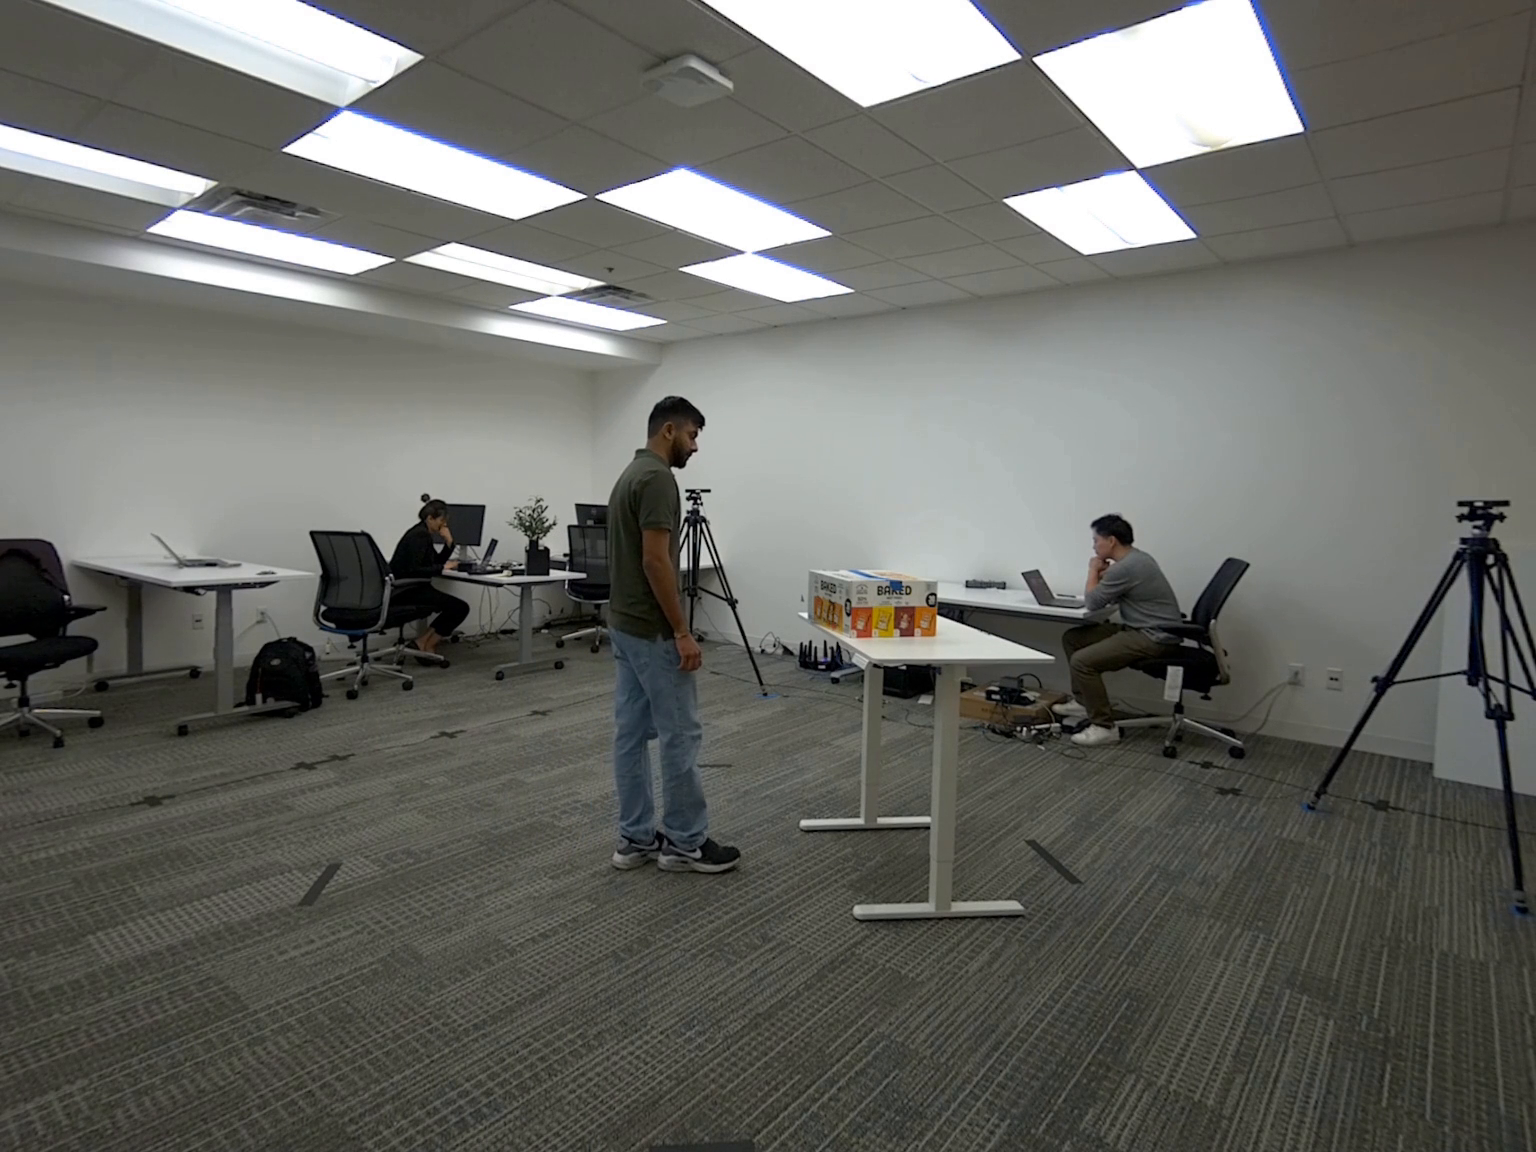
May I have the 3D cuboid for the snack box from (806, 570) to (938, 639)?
[{"bbox_3d":[0.378,0.095,3.210,0.334,0.205,0.414,0,5,-18],"label":"snack box"}]
